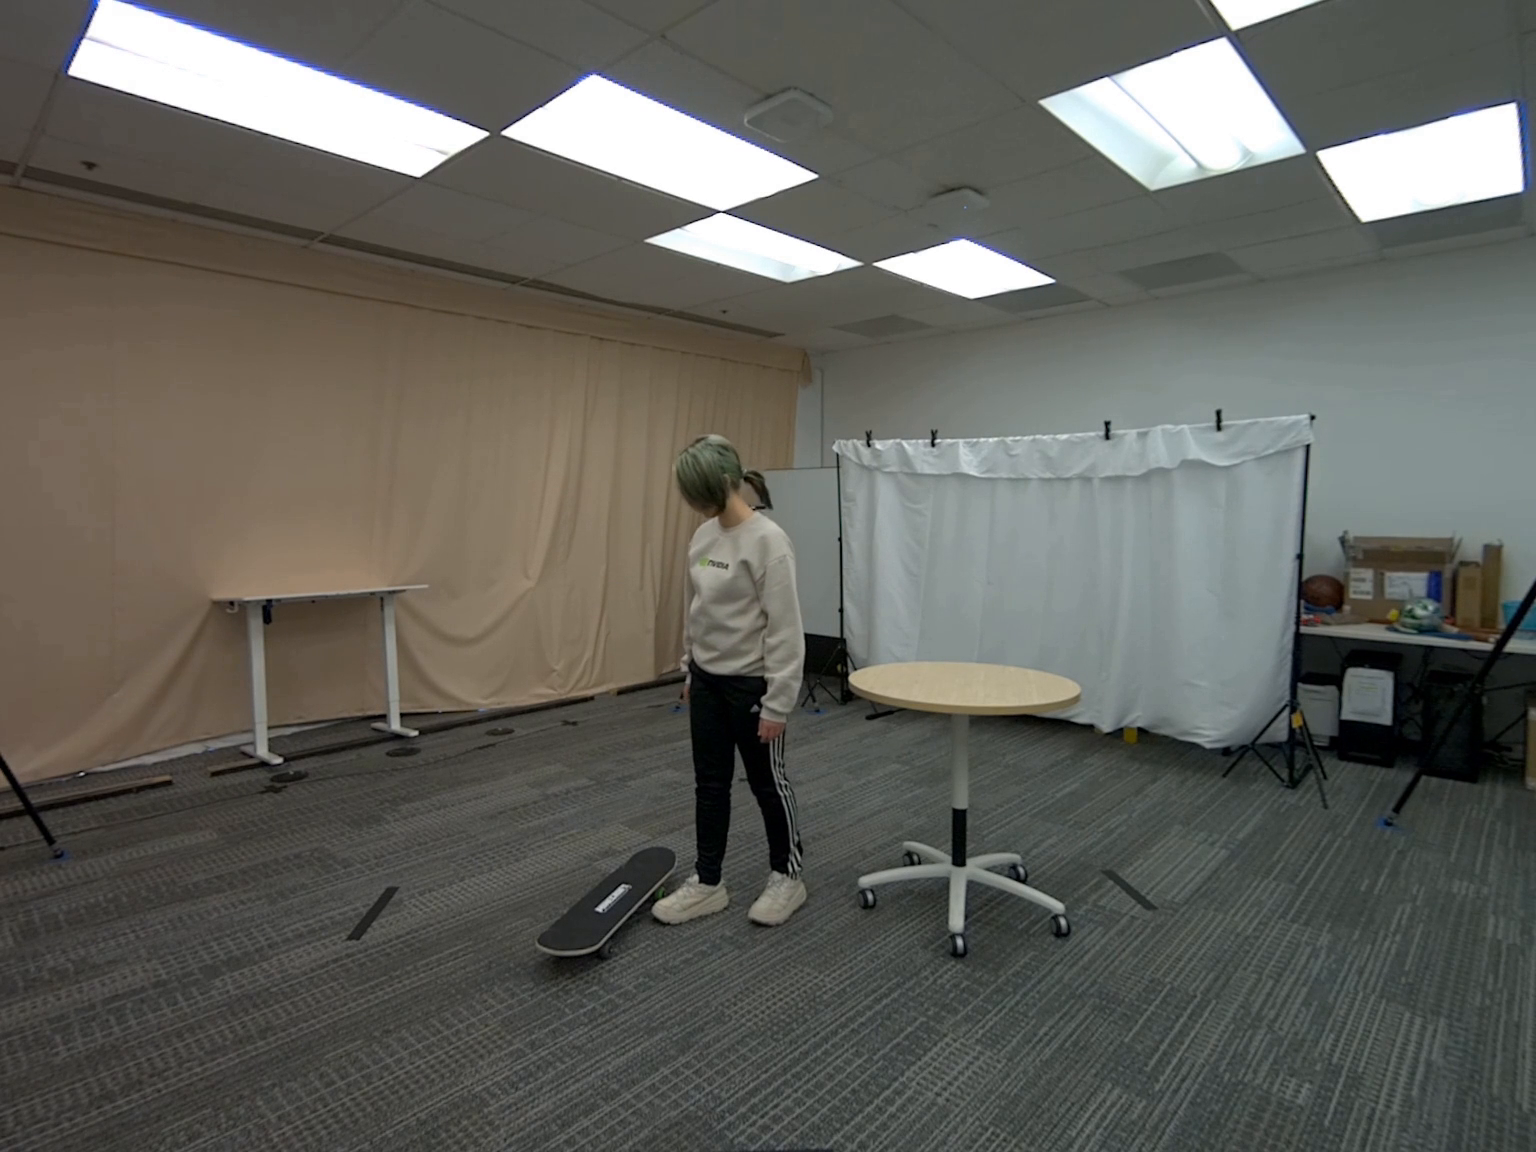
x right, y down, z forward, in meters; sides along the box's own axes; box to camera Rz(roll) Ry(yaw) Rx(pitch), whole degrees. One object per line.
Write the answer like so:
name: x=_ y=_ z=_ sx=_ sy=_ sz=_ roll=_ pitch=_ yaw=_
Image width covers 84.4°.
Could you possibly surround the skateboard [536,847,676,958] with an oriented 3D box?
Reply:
skateboard: x=-0.511 y=1.101 z=2.804 sx=0.197 sy=0.110 sz=0.771 roll=1 pitch=5 yaw=18
